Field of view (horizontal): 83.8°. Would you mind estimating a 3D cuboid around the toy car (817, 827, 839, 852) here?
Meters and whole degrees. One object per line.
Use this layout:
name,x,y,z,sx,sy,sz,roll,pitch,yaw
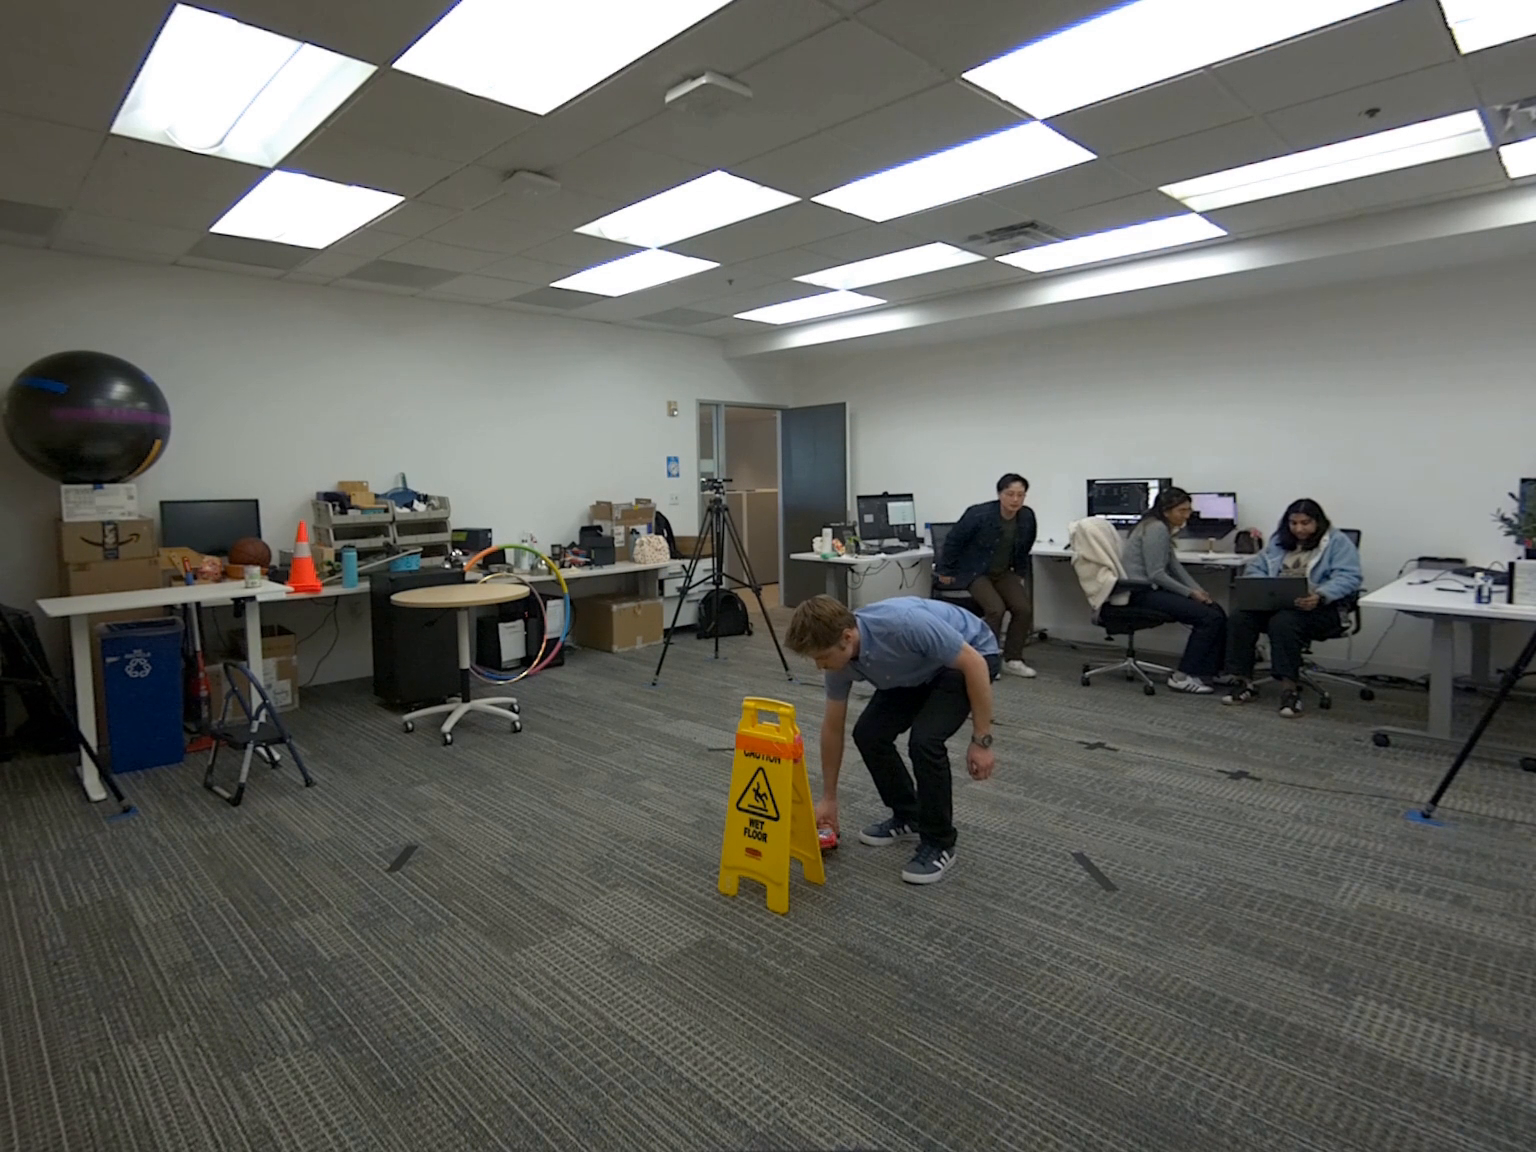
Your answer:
toy car,0.212,0.978,3.224,0.130,0.082,0.257,-13,11,-1
